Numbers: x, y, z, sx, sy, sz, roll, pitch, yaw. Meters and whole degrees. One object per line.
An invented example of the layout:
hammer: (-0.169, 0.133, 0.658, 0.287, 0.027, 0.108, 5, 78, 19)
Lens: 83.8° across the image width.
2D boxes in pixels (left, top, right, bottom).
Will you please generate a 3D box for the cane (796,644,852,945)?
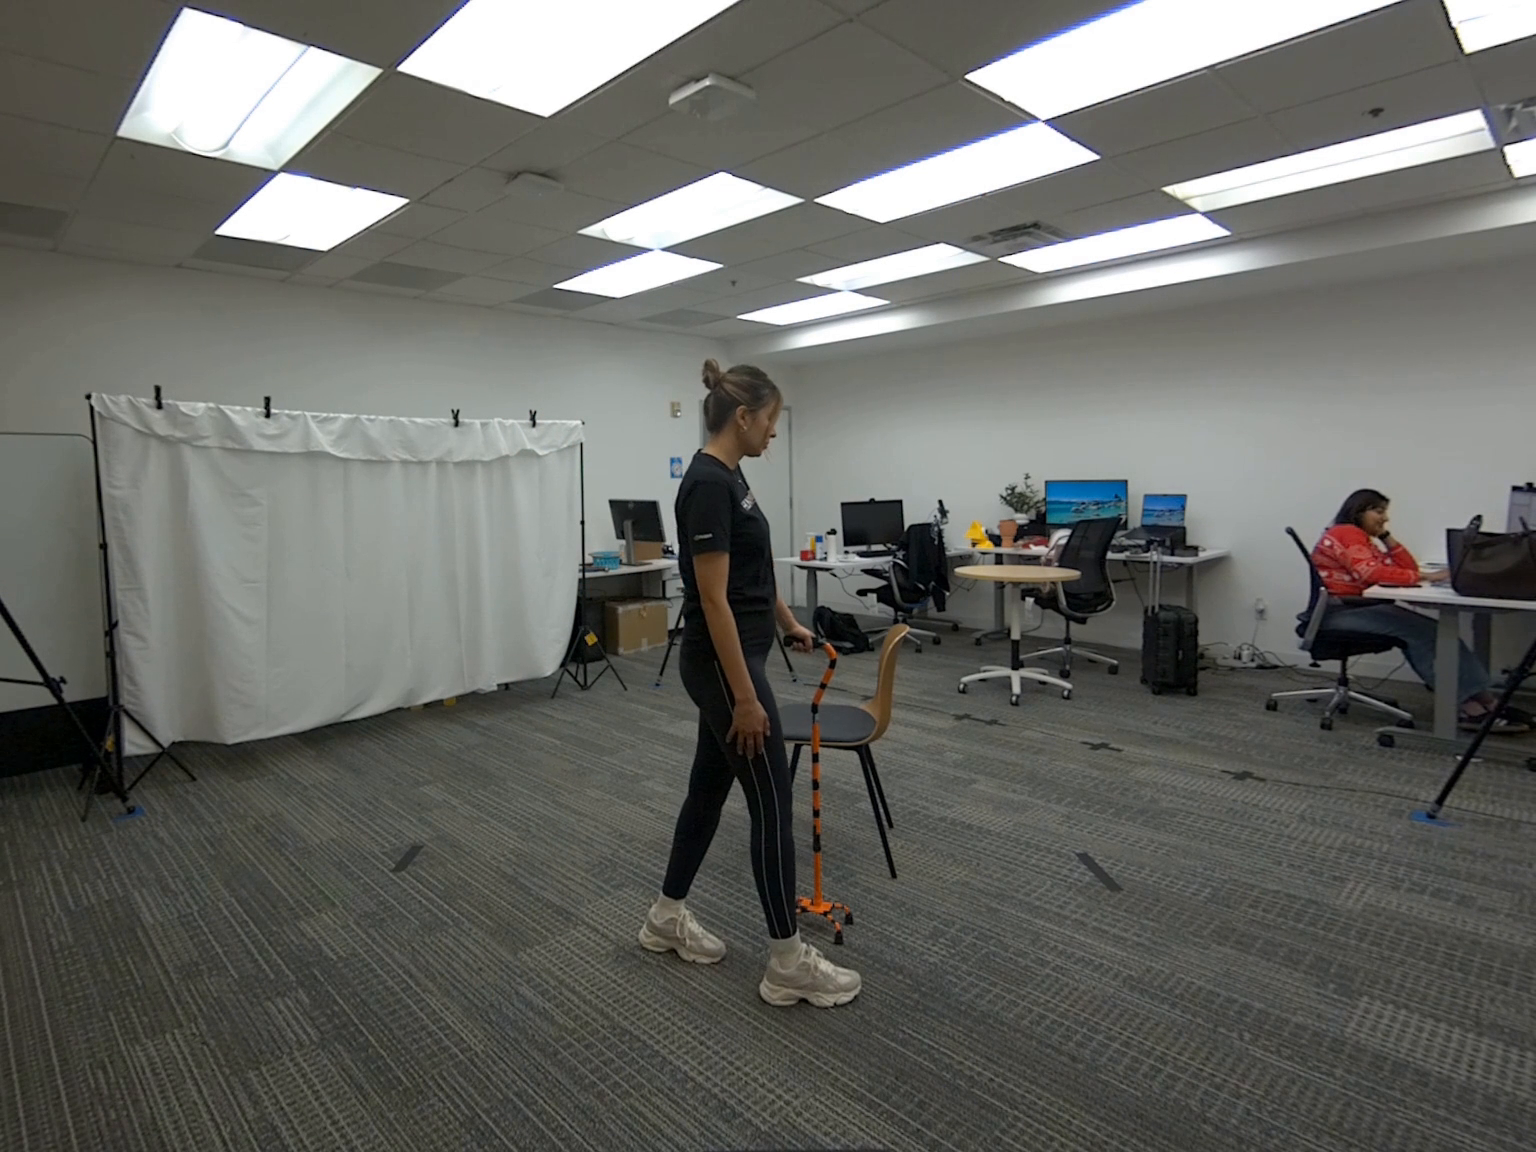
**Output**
cane: (0.152, 0.643, 2.631, 0.210, 0.905, 0.149, 0, 4, 21)
